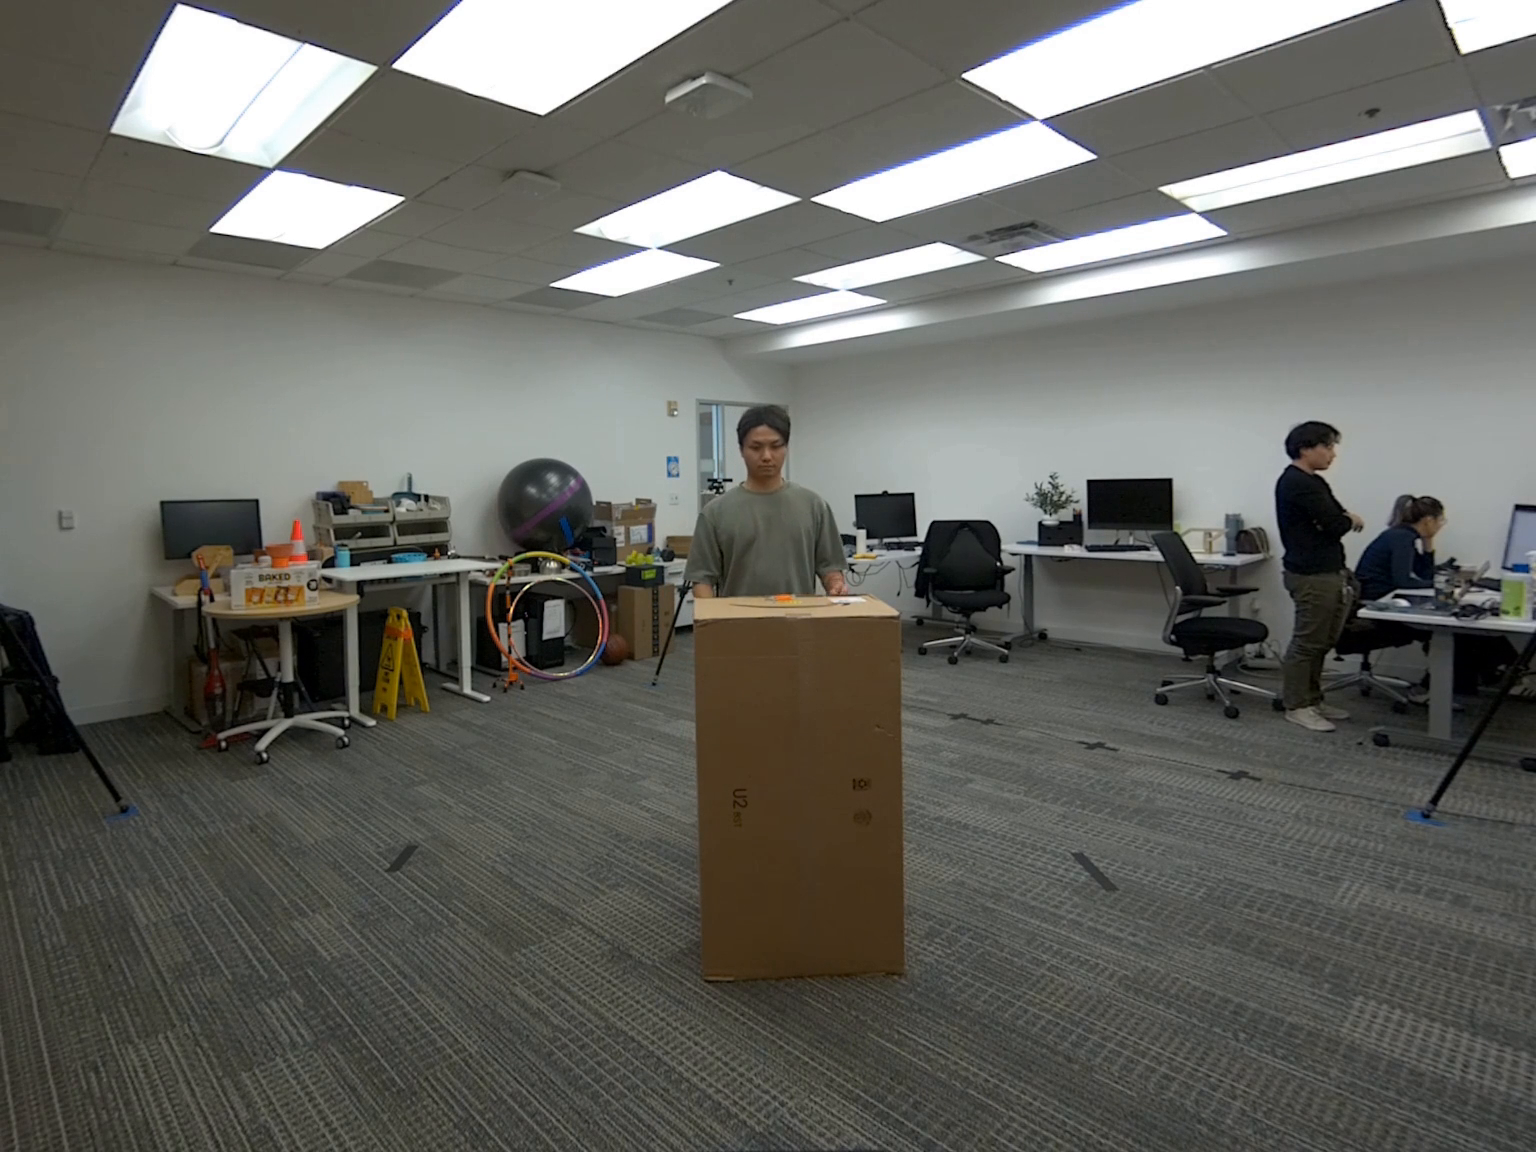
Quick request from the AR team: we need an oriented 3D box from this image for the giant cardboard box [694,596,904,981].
[{"bbox_3d":[0.076,0.596,2.570,0.575,1.022,0.429,-1,4,-4],"label":"giant cardboard box"}]
